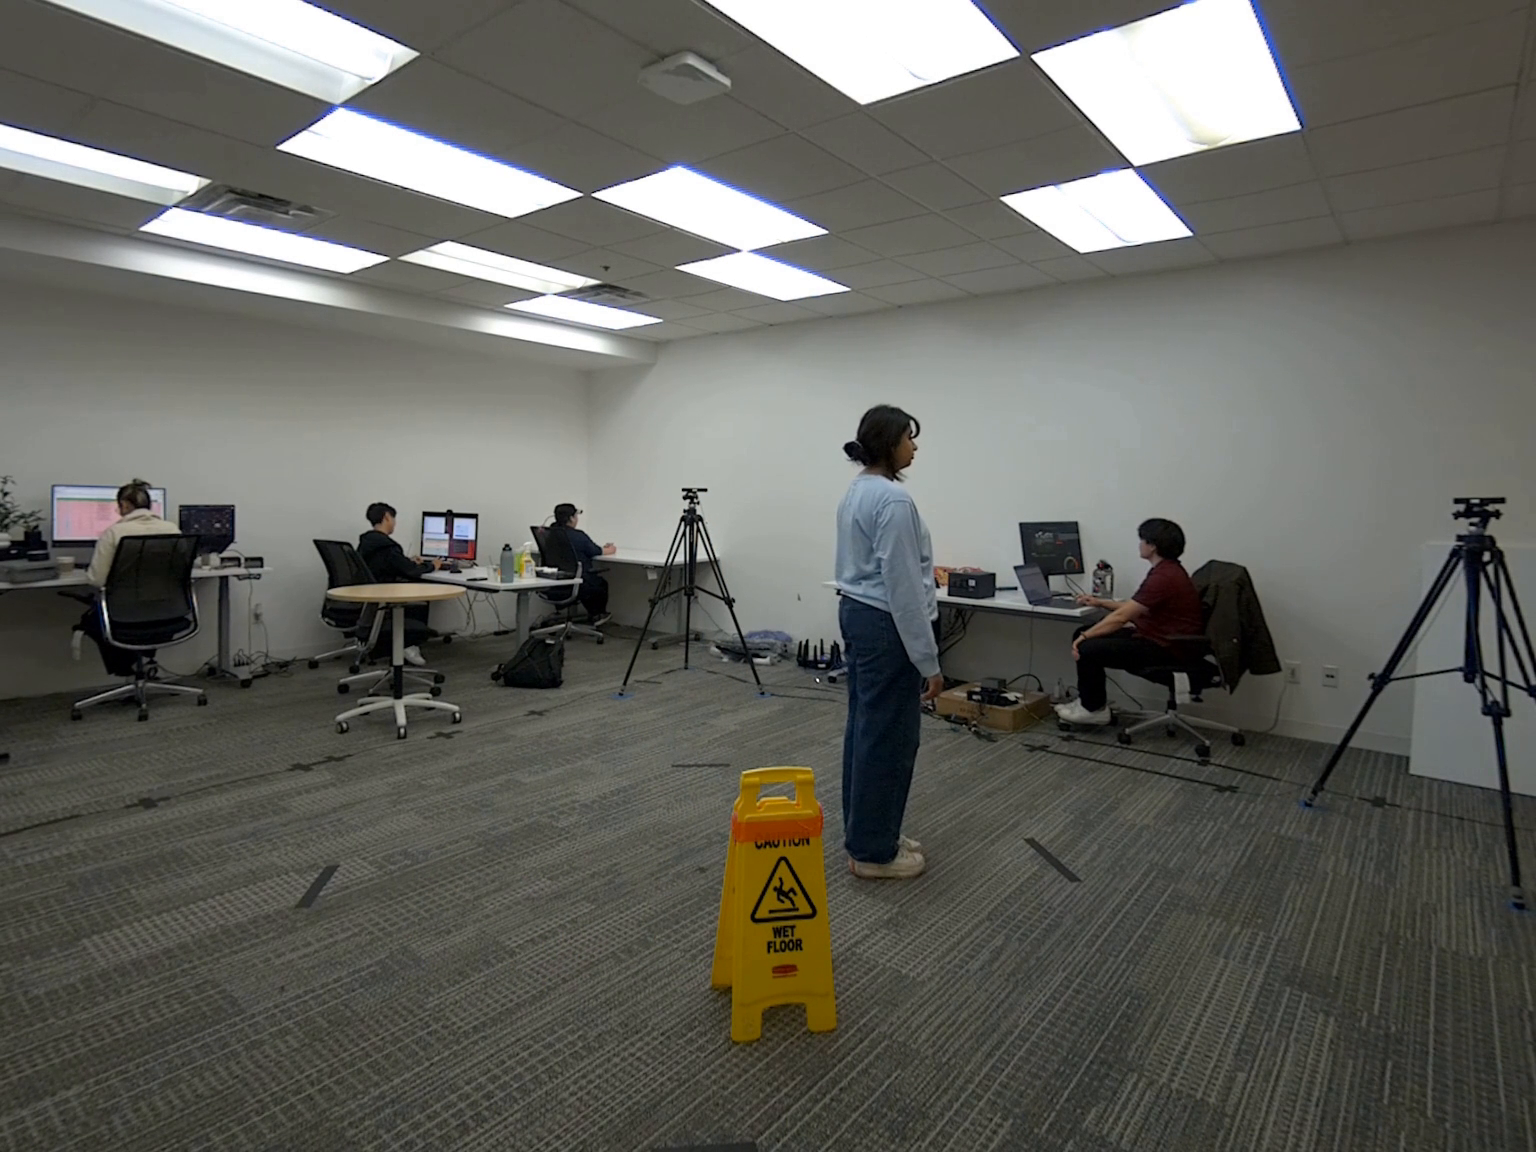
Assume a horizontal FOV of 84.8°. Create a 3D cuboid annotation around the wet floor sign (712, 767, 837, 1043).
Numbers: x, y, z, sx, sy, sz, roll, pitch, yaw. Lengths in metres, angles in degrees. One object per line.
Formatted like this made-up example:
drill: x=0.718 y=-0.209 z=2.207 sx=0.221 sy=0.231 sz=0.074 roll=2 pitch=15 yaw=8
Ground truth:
wet floor sign: x=0.009 y=0.832 z=2.267 sx=0.278 sy=0.645 sz=0.295 roll=2 pitch=3 yaw=-15
